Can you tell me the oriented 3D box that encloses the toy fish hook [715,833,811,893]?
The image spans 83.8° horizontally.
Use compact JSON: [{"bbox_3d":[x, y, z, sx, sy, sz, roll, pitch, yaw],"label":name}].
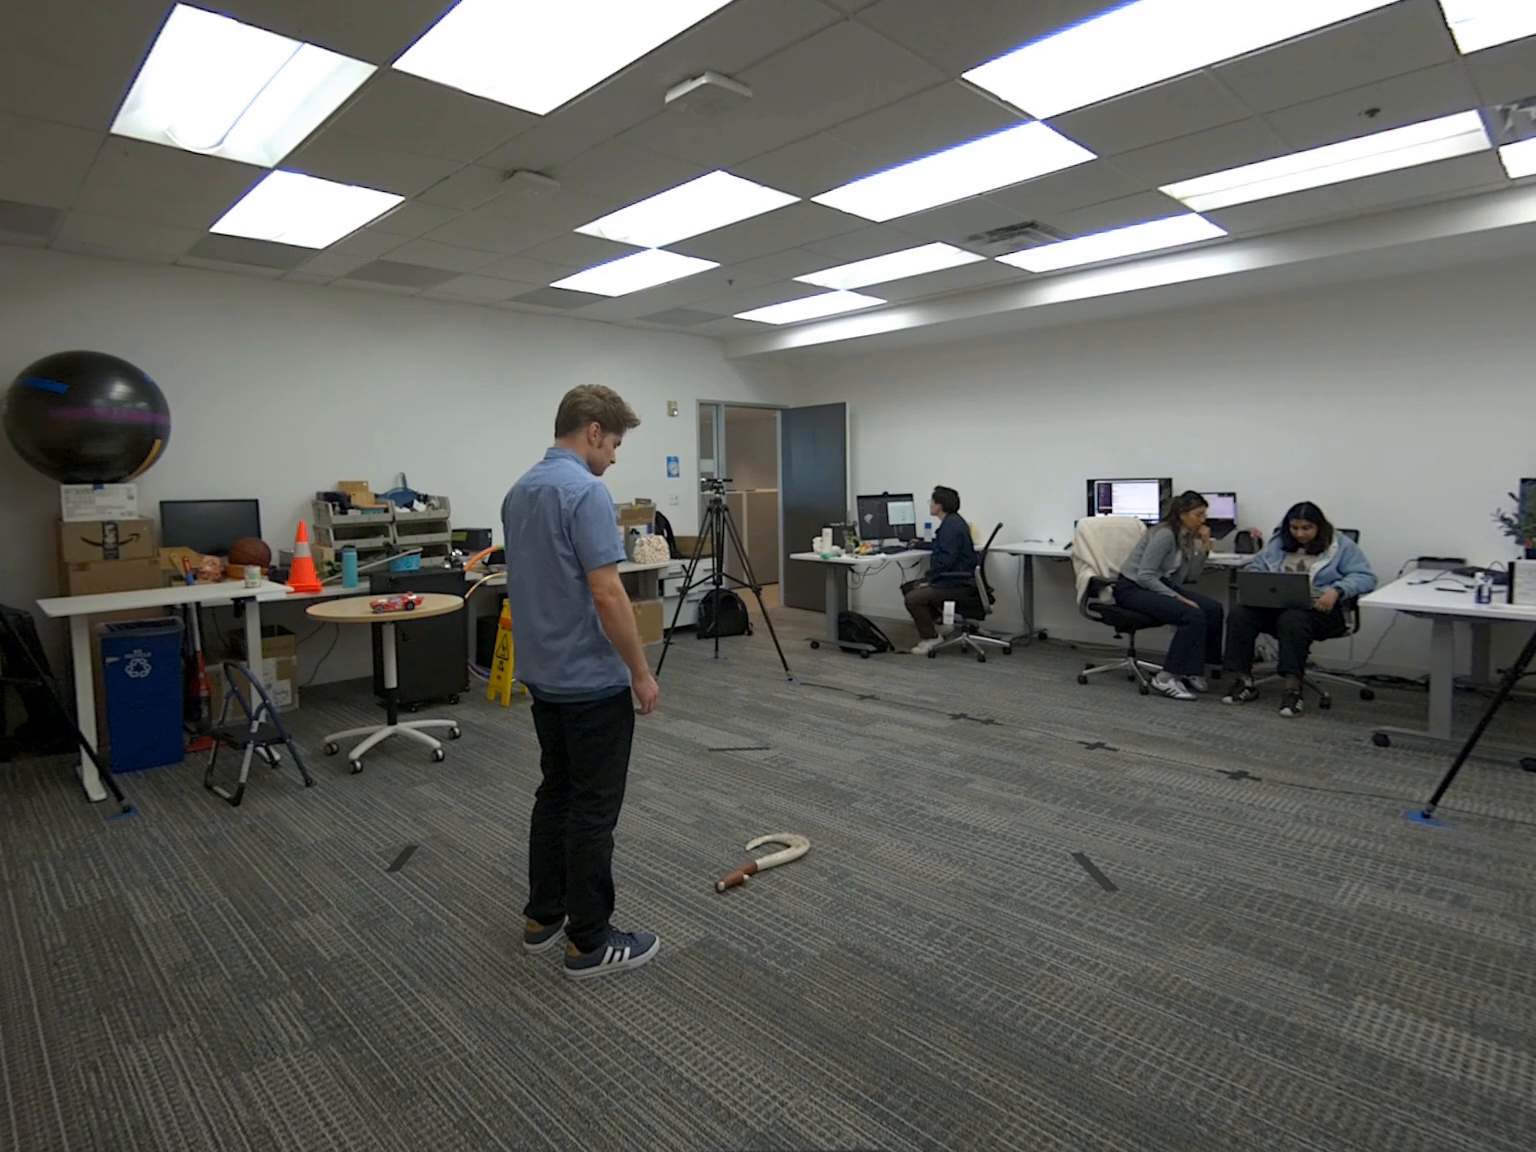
[{"bbox_3d":[-0.050,1.030,3.100,0.230,0.048,0.493,-6,1,41],"label":"toy fish hook"}]
